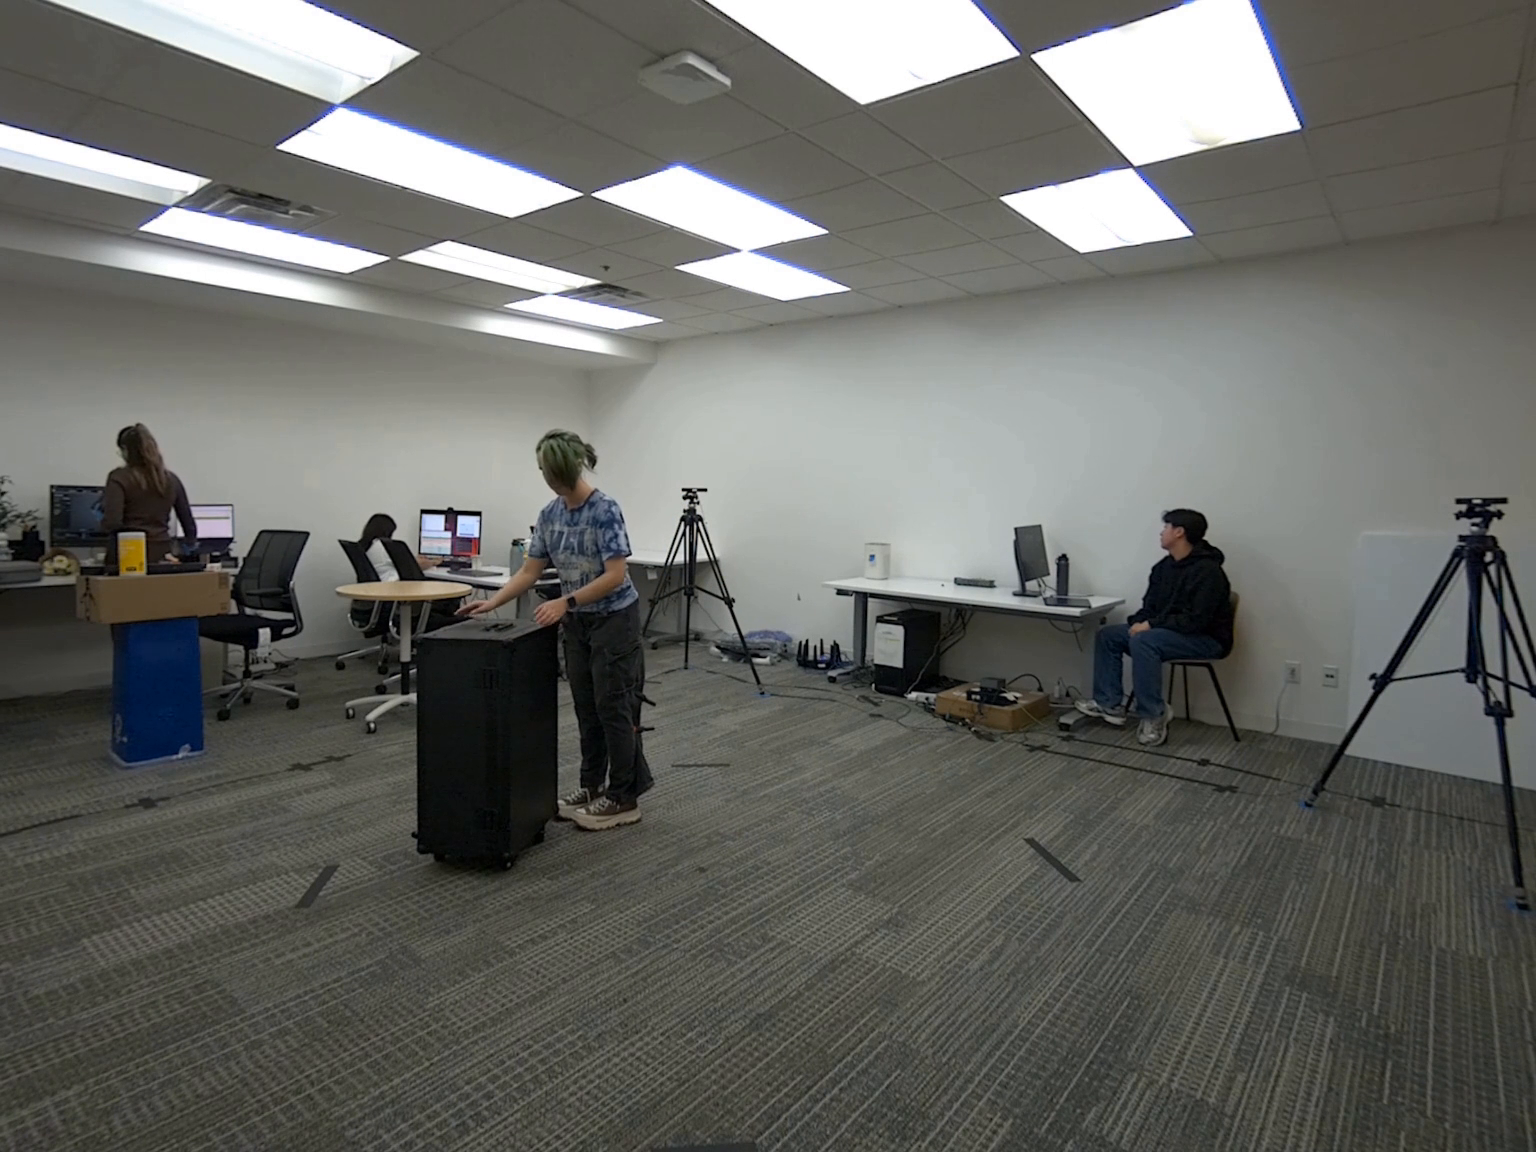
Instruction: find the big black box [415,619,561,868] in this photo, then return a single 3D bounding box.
[{"bbox_3d":[-1.077,0.619,3.228,0.401,0.859,0.517,0,3,9],"label":"big black box"}]
